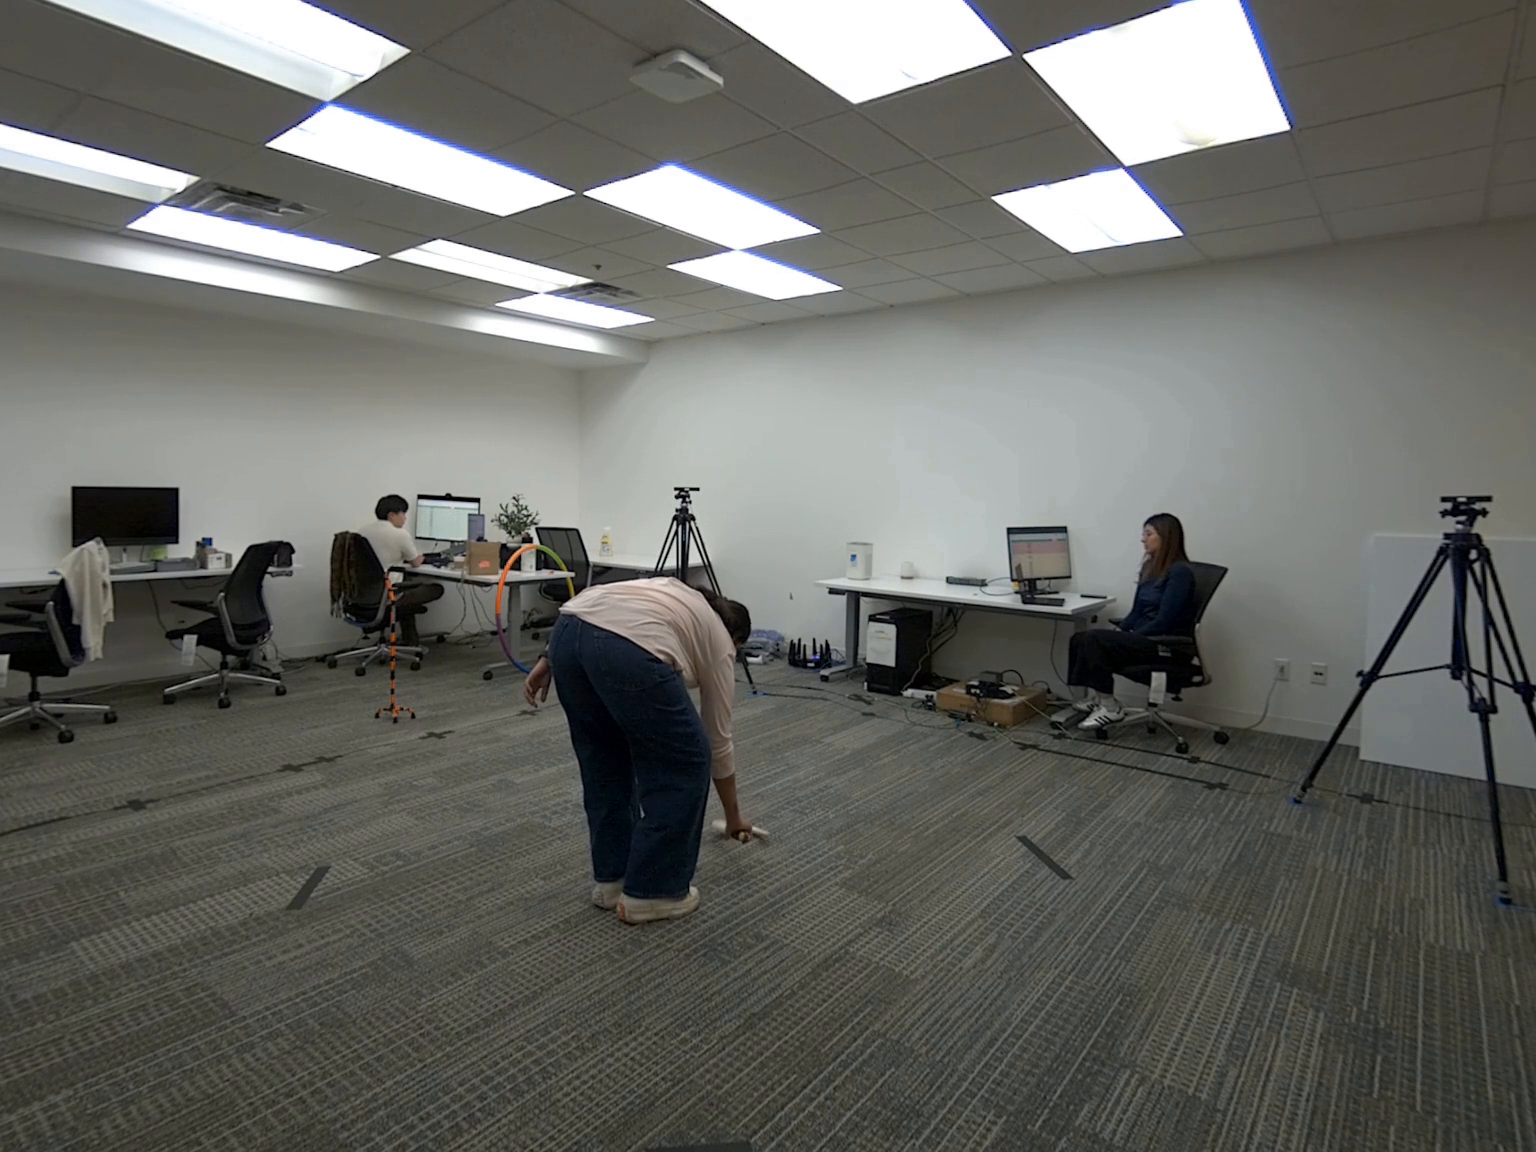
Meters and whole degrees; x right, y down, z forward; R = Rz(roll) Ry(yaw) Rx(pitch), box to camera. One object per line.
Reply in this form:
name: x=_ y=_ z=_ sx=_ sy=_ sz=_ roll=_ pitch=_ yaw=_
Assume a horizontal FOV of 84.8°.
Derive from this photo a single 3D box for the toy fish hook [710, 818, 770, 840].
toy fish hook: x=-0.097 y=0.971 z=3.227 sx=0.223 sy=0.049 sz=0.506 roll=6 pitch=-10 yaw=-9
